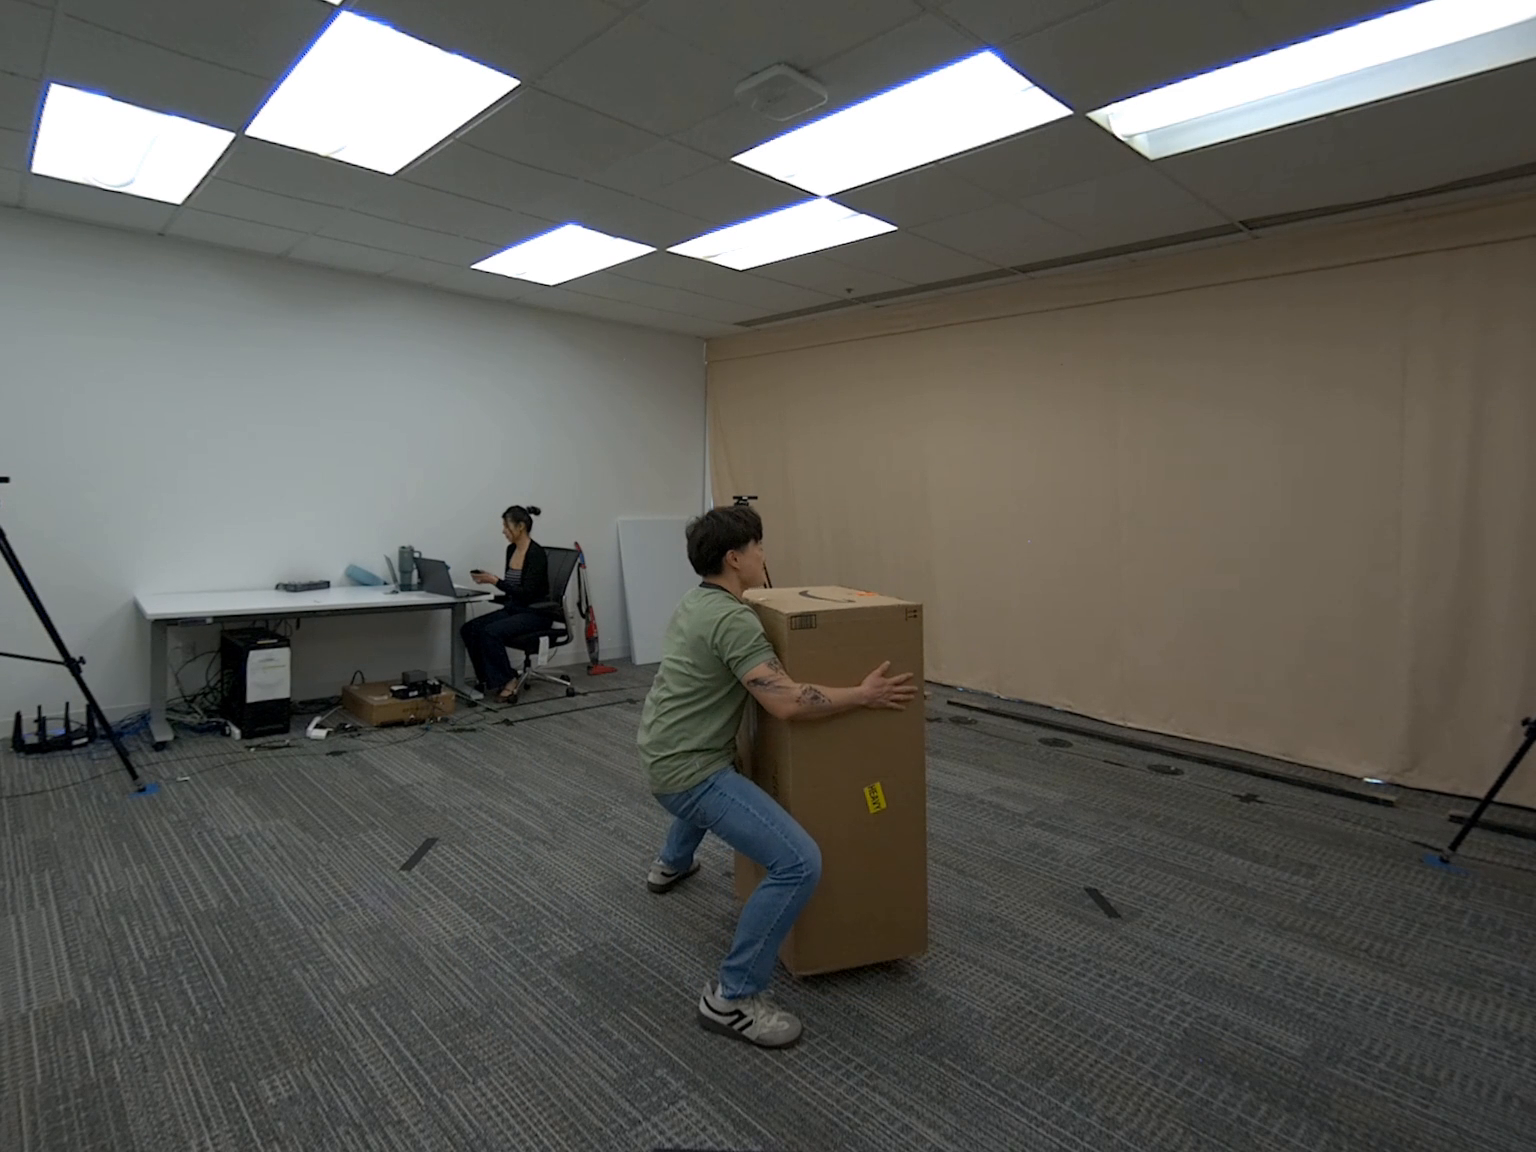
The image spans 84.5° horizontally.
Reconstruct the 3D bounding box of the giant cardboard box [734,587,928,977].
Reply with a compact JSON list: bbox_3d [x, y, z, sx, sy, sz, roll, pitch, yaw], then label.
[{"bbox_3d":[0.167,0.577,2.642,0.421,1.023,0.586,-2,4,-18],"label":"giant cardboard box"}]
